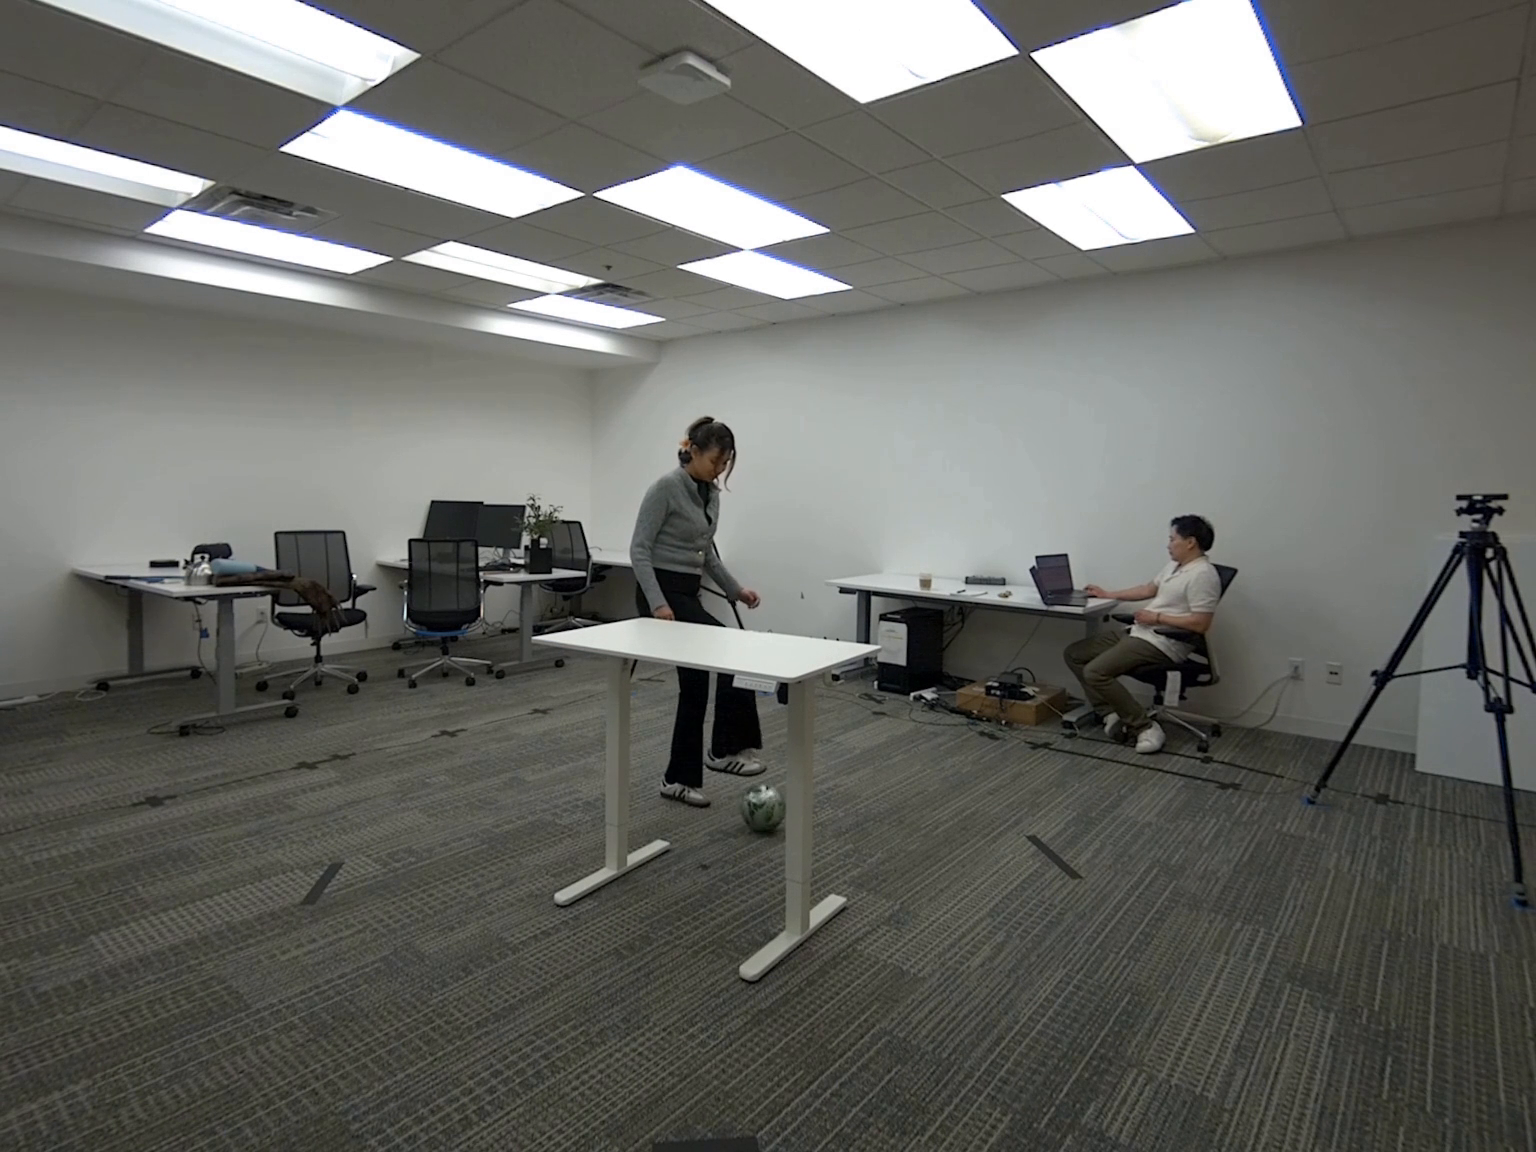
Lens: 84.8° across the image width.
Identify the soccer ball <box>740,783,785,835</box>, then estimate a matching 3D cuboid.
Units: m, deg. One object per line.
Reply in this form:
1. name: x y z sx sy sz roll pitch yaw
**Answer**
1. soccer ball: -0.027 0.936 3.457 0.187 0.187 0.188 0 4 -2
